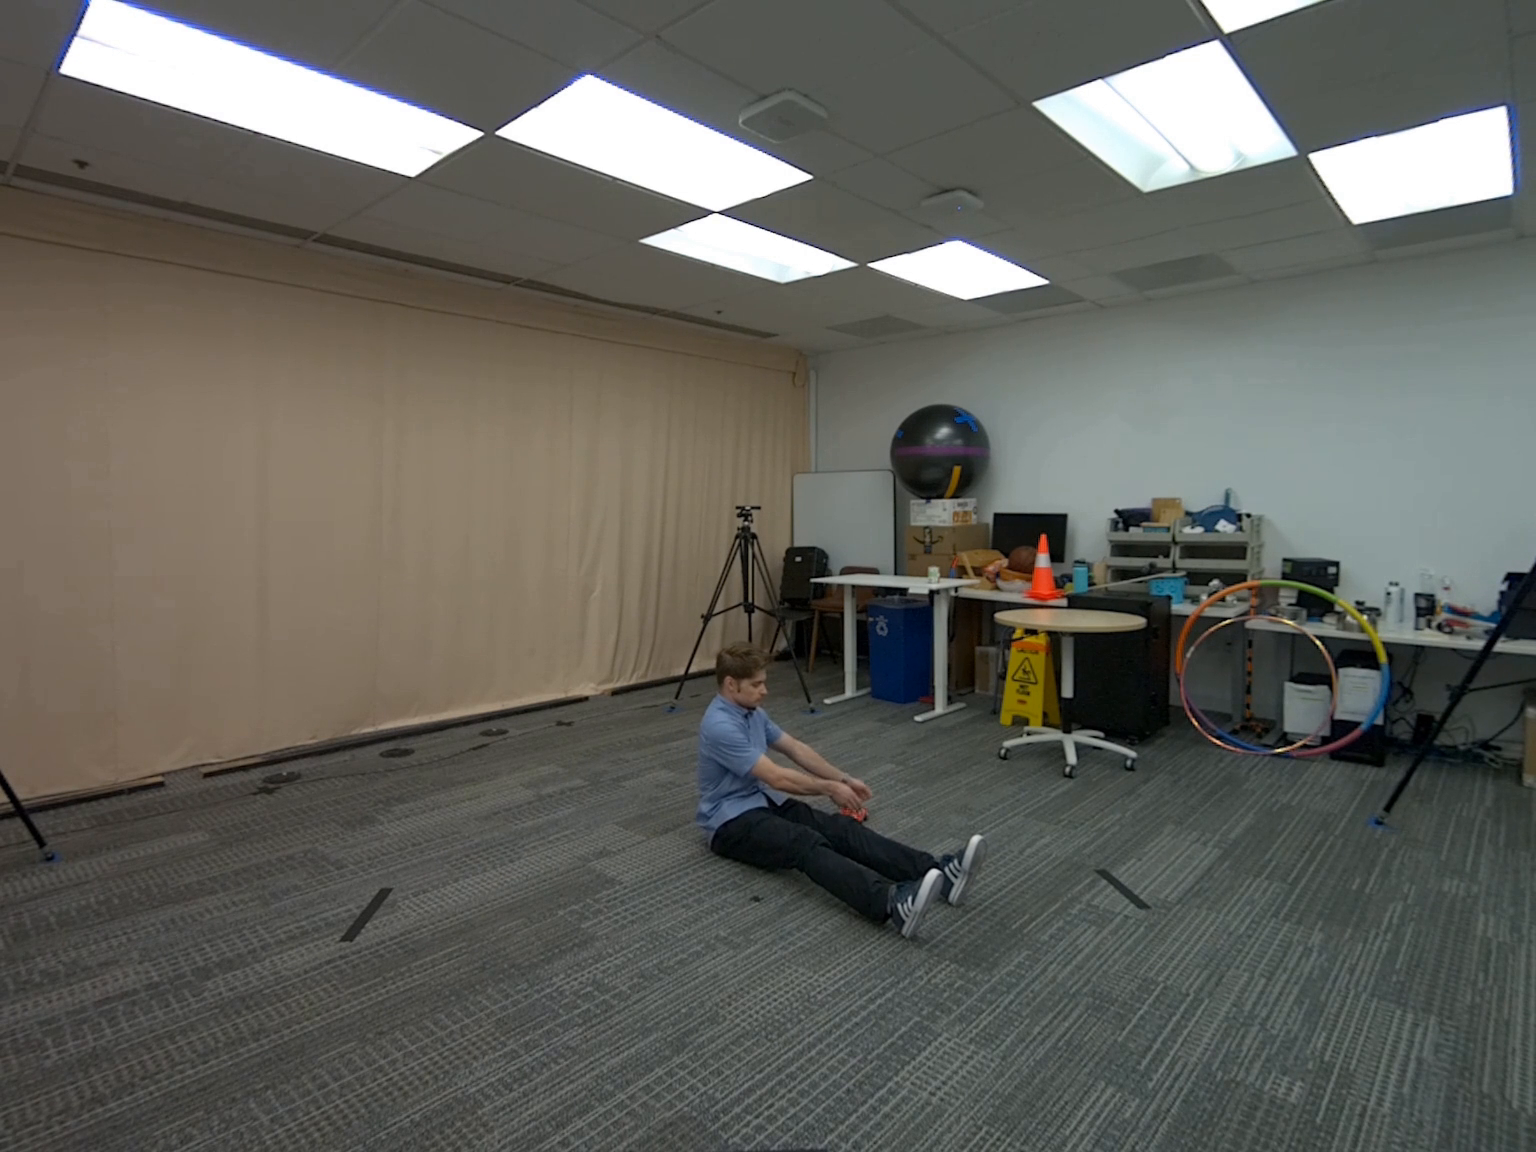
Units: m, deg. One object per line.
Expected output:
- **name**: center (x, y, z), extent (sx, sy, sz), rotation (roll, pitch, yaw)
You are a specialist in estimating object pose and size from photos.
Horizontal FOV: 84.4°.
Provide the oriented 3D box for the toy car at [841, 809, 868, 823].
- **toy car**: center (0.356, 1.056, 3.660), extent (0.133, 0.083, 0.248), rotation (3, -6, 19)
